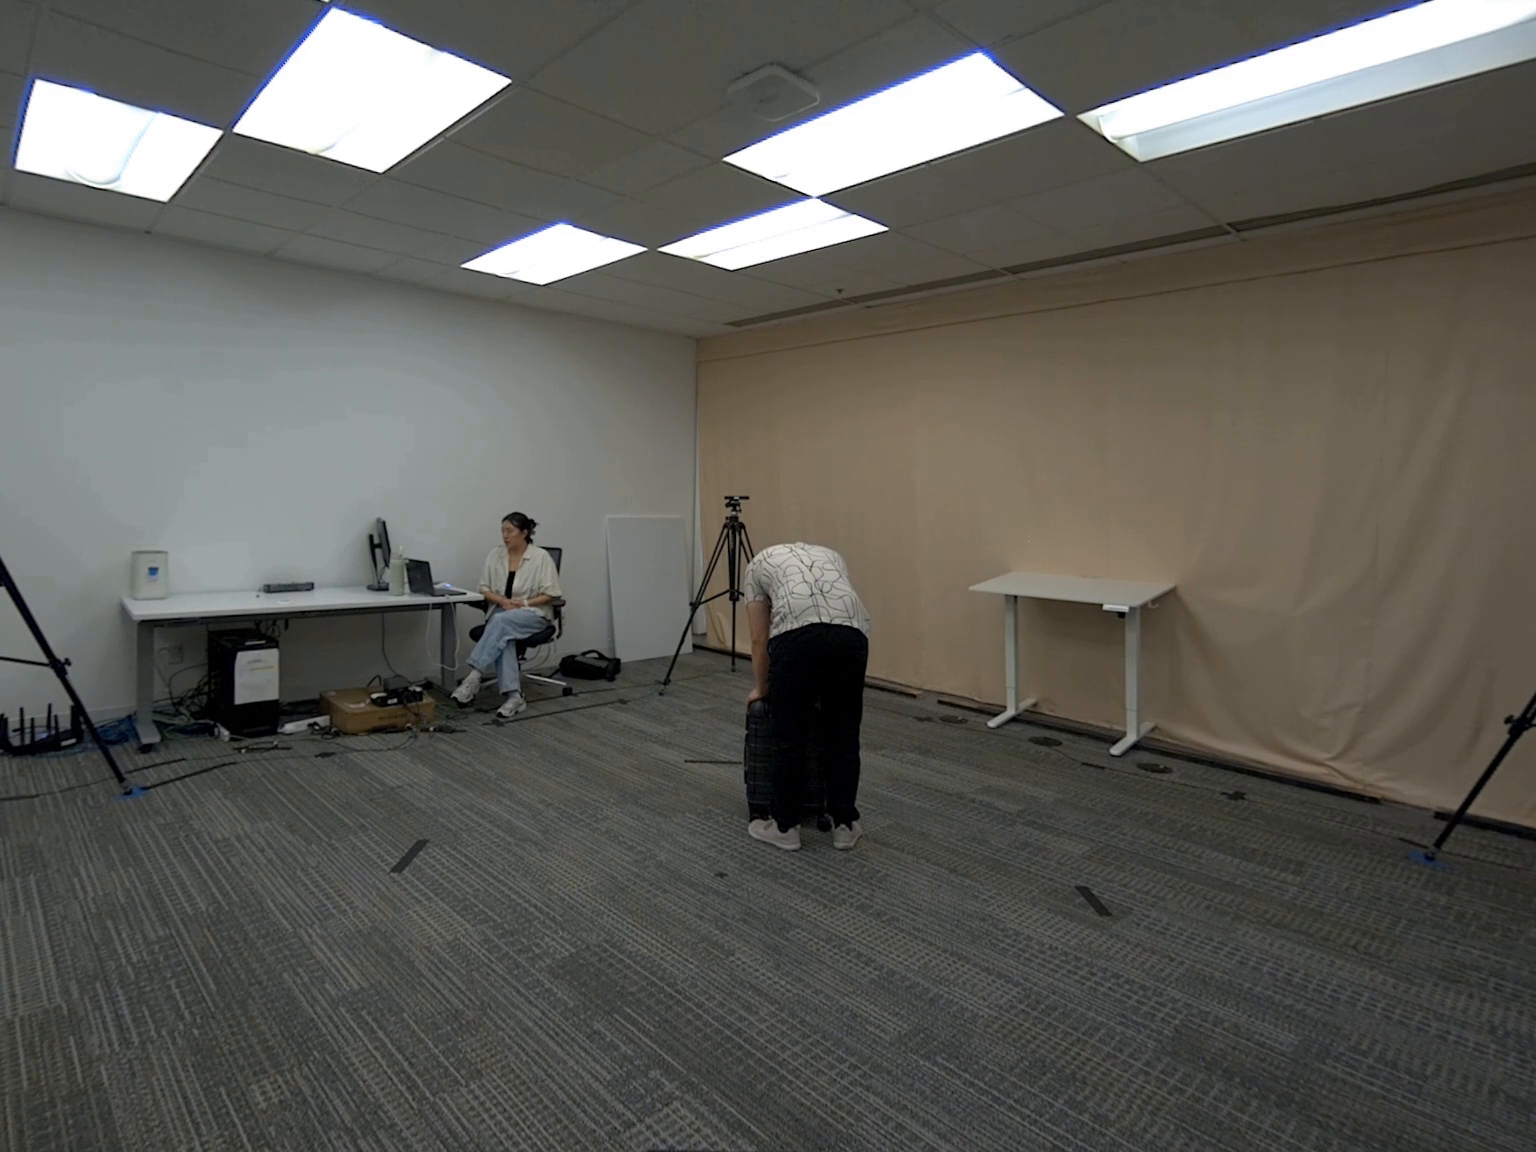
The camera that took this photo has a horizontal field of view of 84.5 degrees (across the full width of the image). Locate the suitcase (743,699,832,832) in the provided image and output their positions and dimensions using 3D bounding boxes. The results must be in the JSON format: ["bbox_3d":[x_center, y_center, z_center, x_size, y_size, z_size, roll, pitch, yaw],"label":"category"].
[{"bbox_3d":[0.081,0.785,3.688,0.377,0.549,0.247,1,0,4],"label":"suitcase"}]
